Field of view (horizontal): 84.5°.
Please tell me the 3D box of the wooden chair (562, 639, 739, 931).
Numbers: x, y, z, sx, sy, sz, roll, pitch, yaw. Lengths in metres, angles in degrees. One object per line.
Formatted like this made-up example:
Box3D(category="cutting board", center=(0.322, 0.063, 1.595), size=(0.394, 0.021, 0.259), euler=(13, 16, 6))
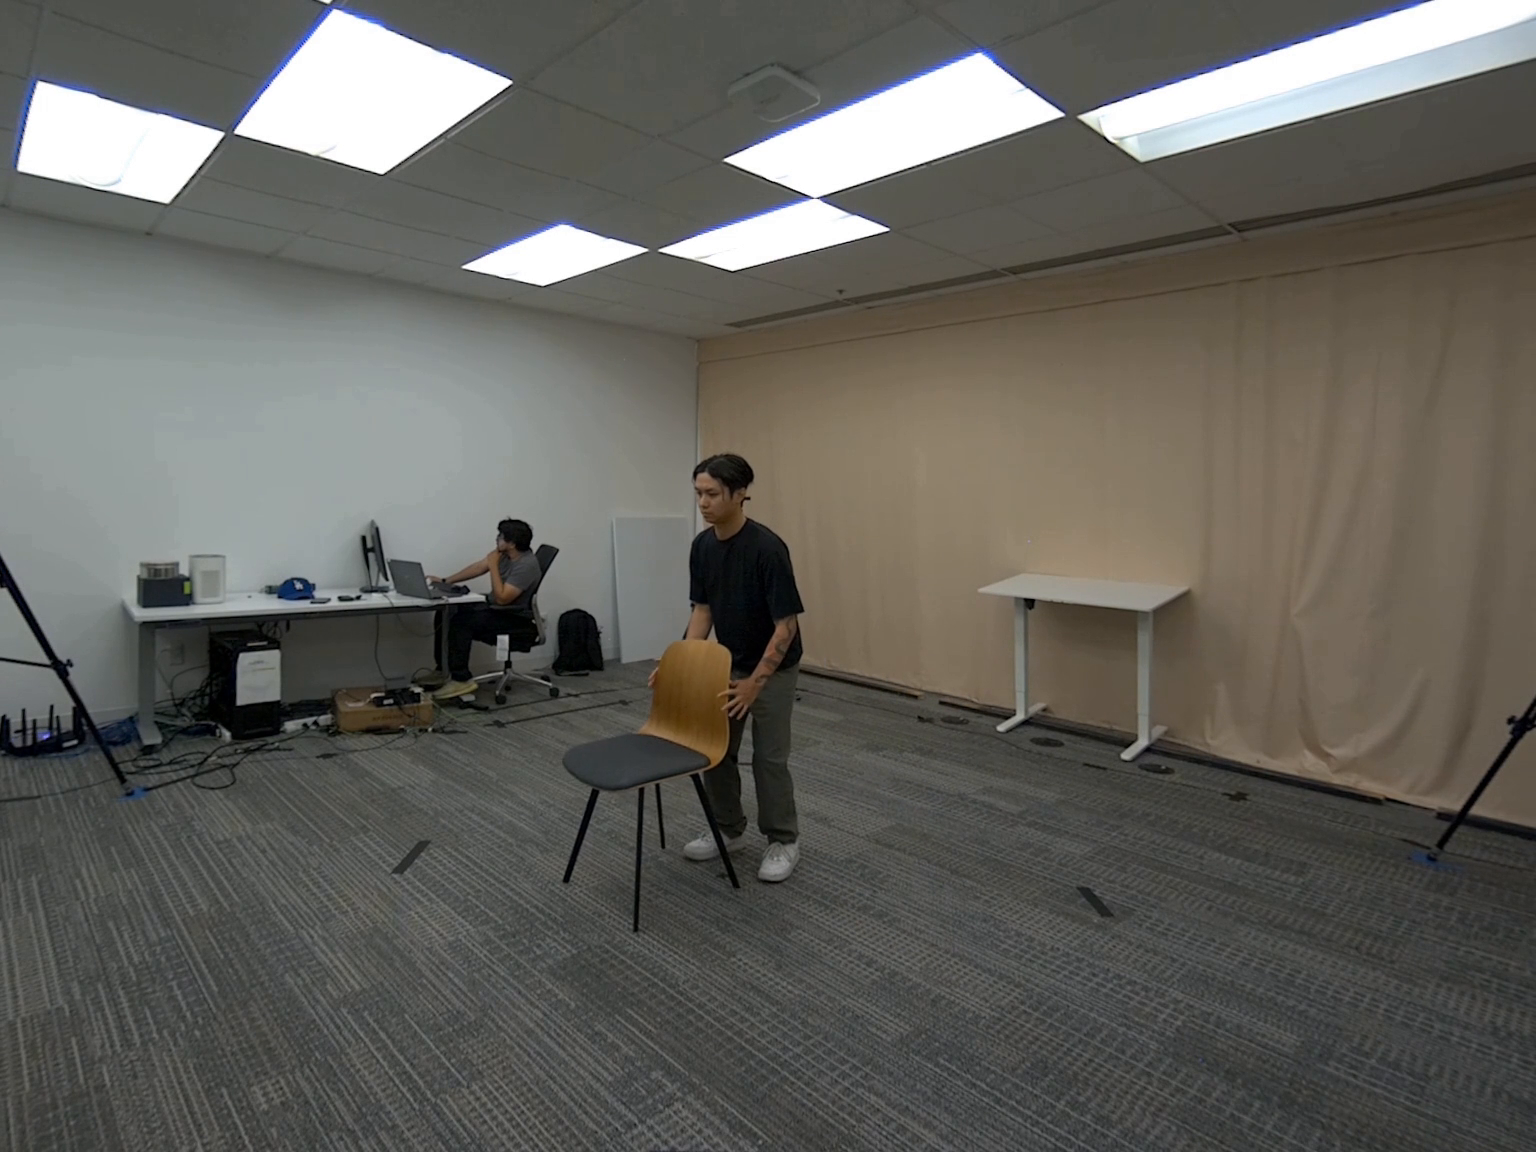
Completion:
Box3D(category="wooden chair", center=(-0.426, 0.680, 2.952), size=(0.510, 0.876, 0.490), euler=(2, 2, -43))
